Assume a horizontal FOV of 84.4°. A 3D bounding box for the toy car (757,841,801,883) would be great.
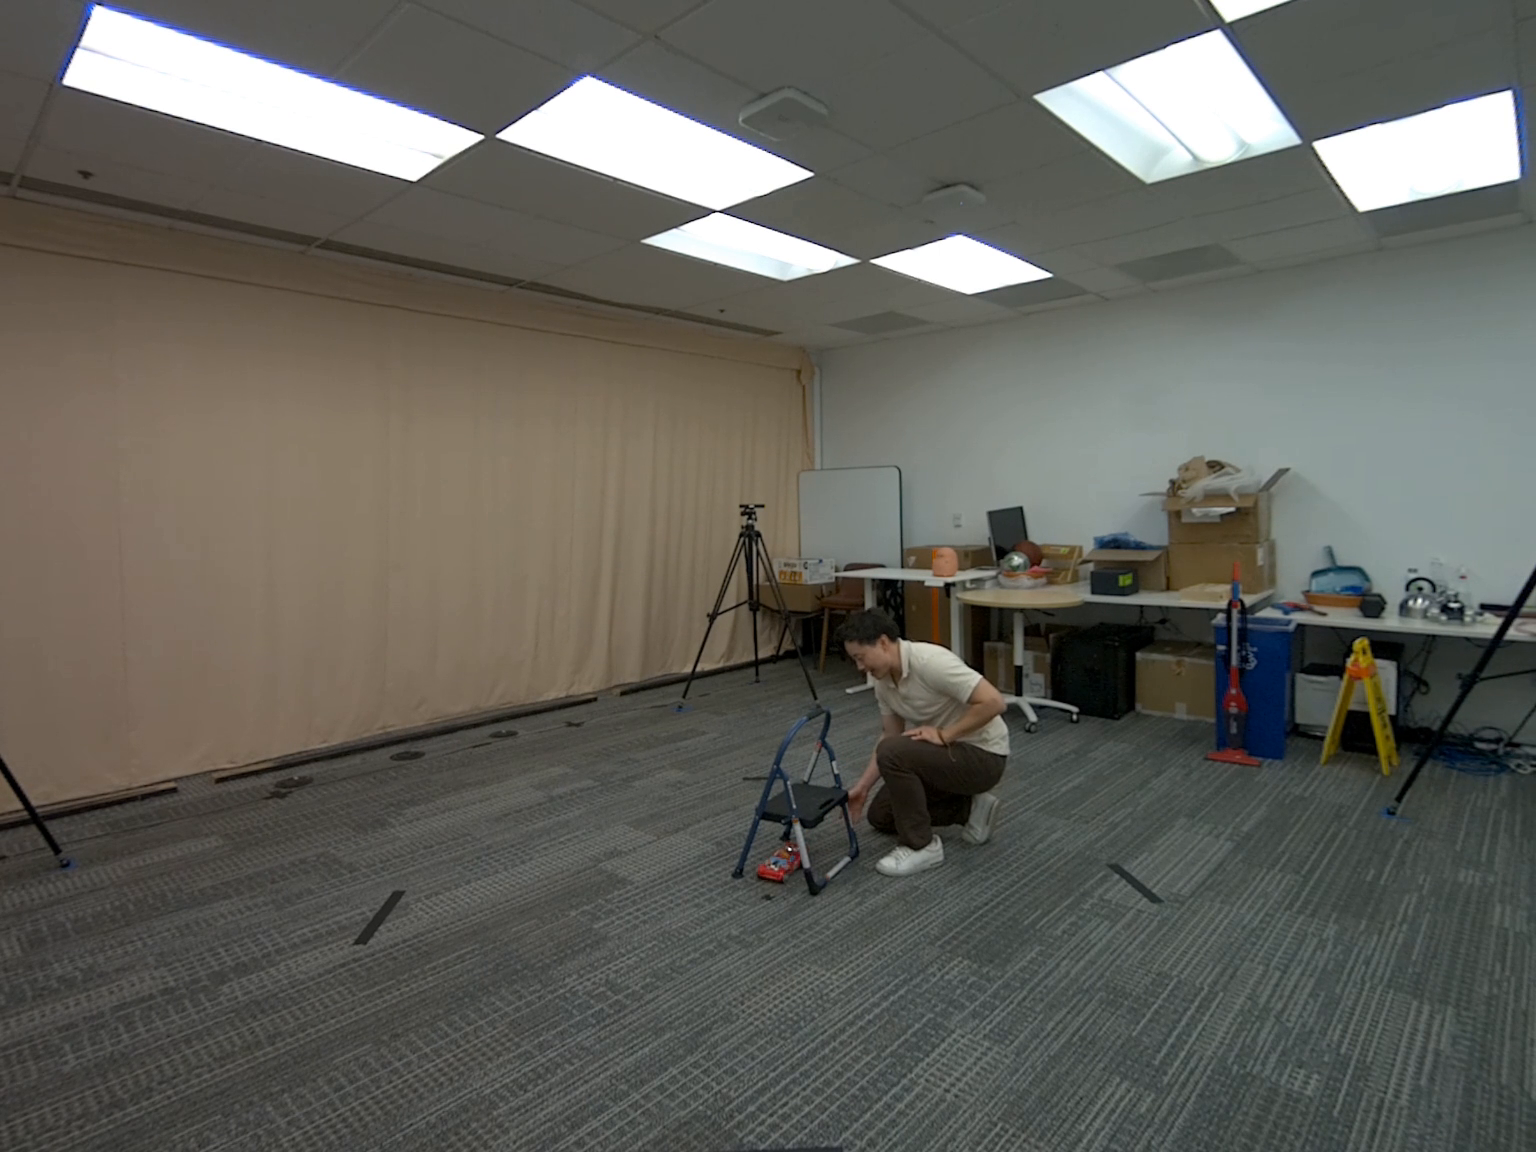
[{"bbox_3d":[0.071,1.088,3.209,0.134,0.082,0.250,1,16,29],"label":"toy car"}]
